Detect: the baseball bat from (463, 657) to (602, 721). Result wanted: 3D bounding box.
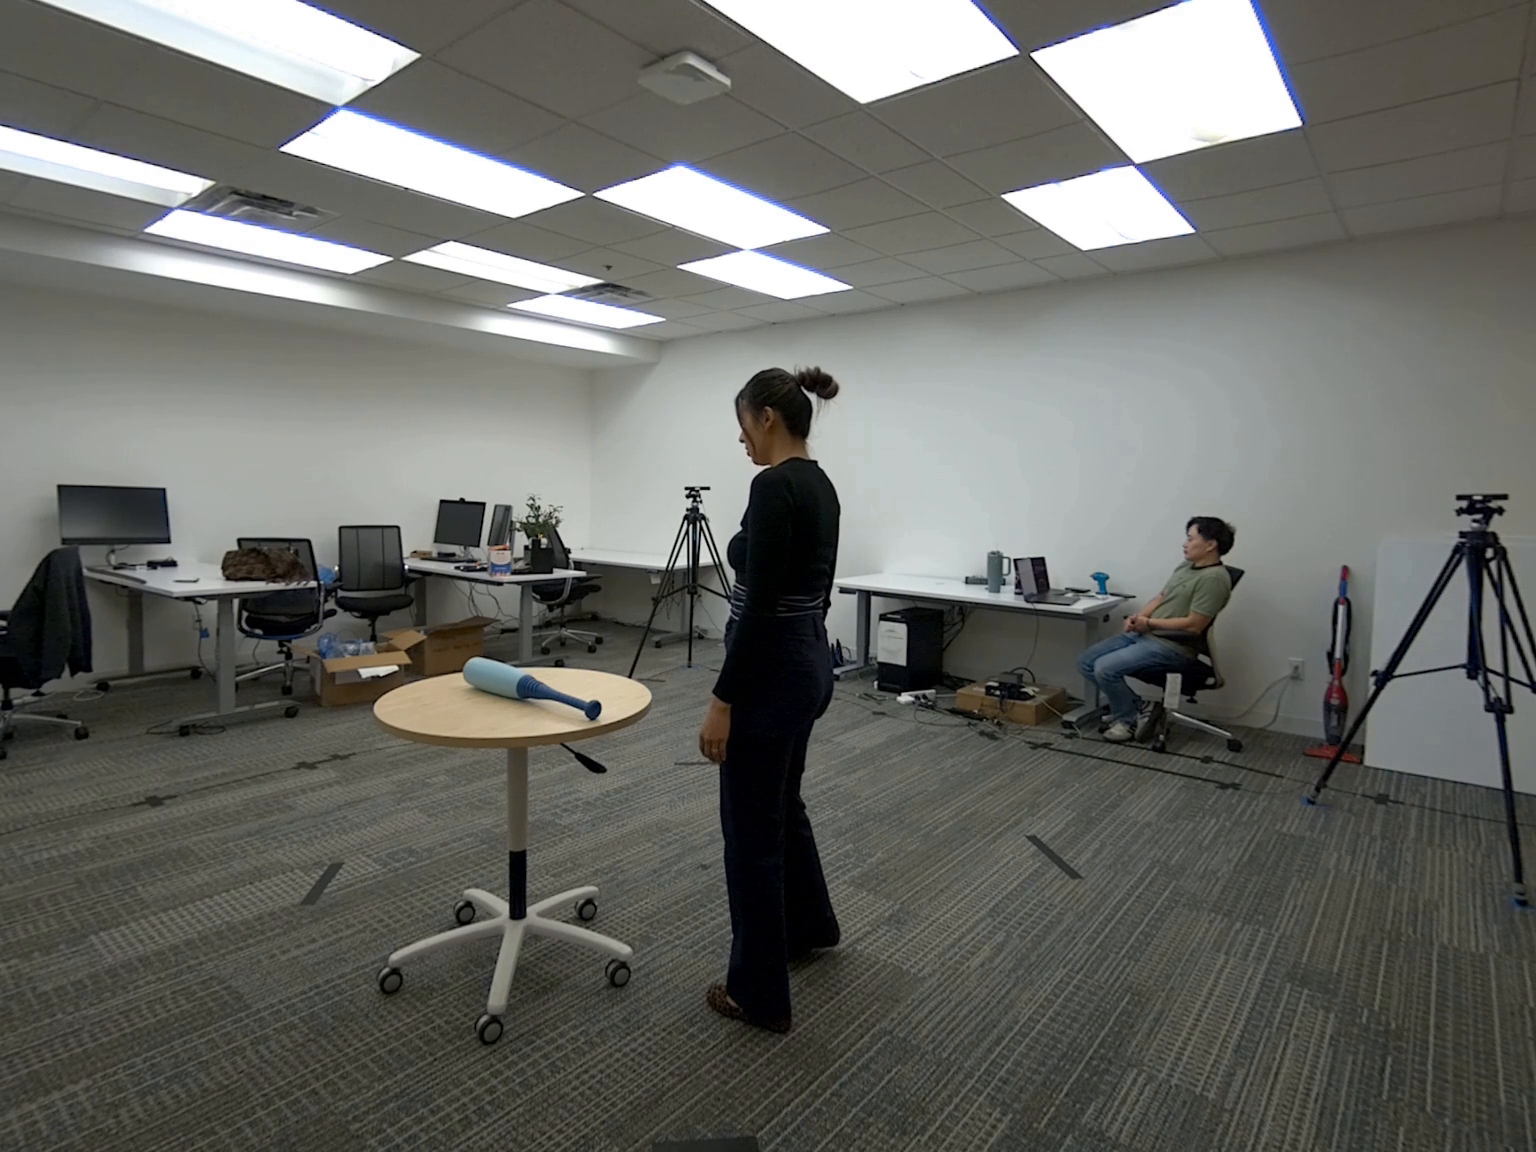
[{"bbox_3d":[-0.671,0.316,2.367,0.562,0.088,0.086,8,8,38],"label":"baseball bat"}]
